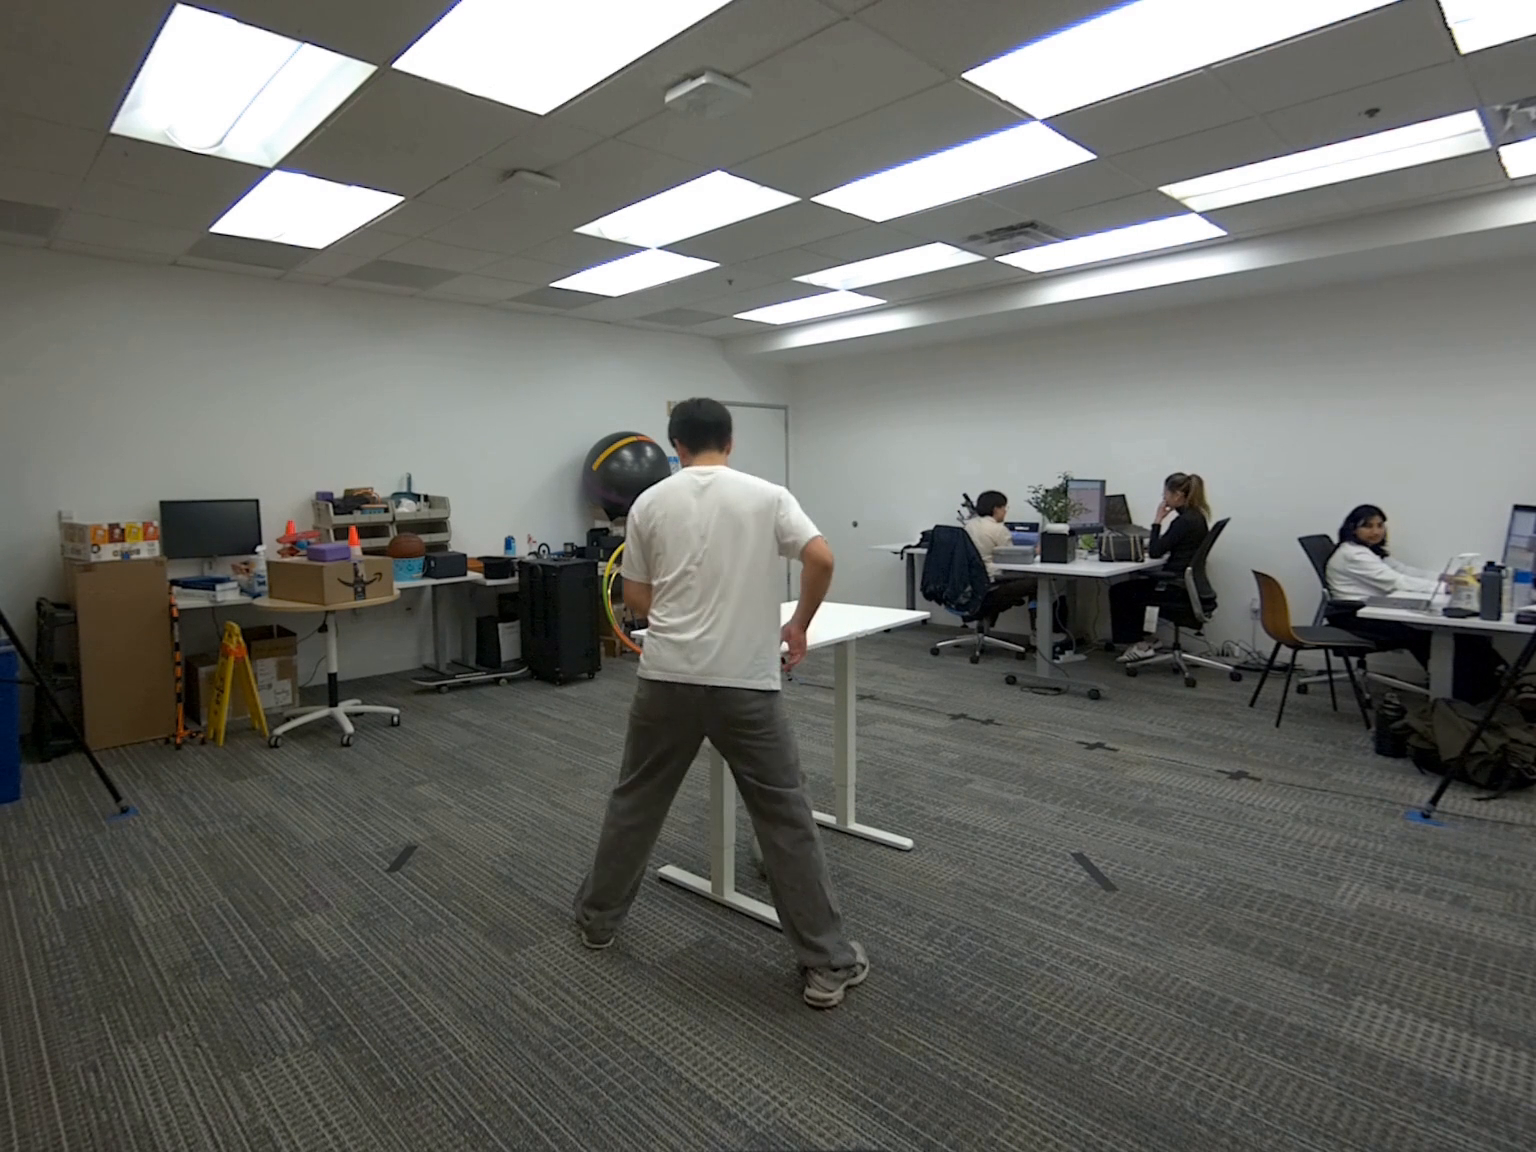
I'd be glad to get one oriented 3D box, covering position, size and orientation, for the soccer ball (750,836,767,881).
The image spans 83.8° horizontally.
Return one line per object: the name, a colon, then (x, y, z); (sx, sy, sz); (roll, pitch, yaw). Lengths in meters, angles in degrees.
soccer ball: (0.033, 0.963, 3.011); (0.187, 0.187, 0.188); (-1, 5, -2)
